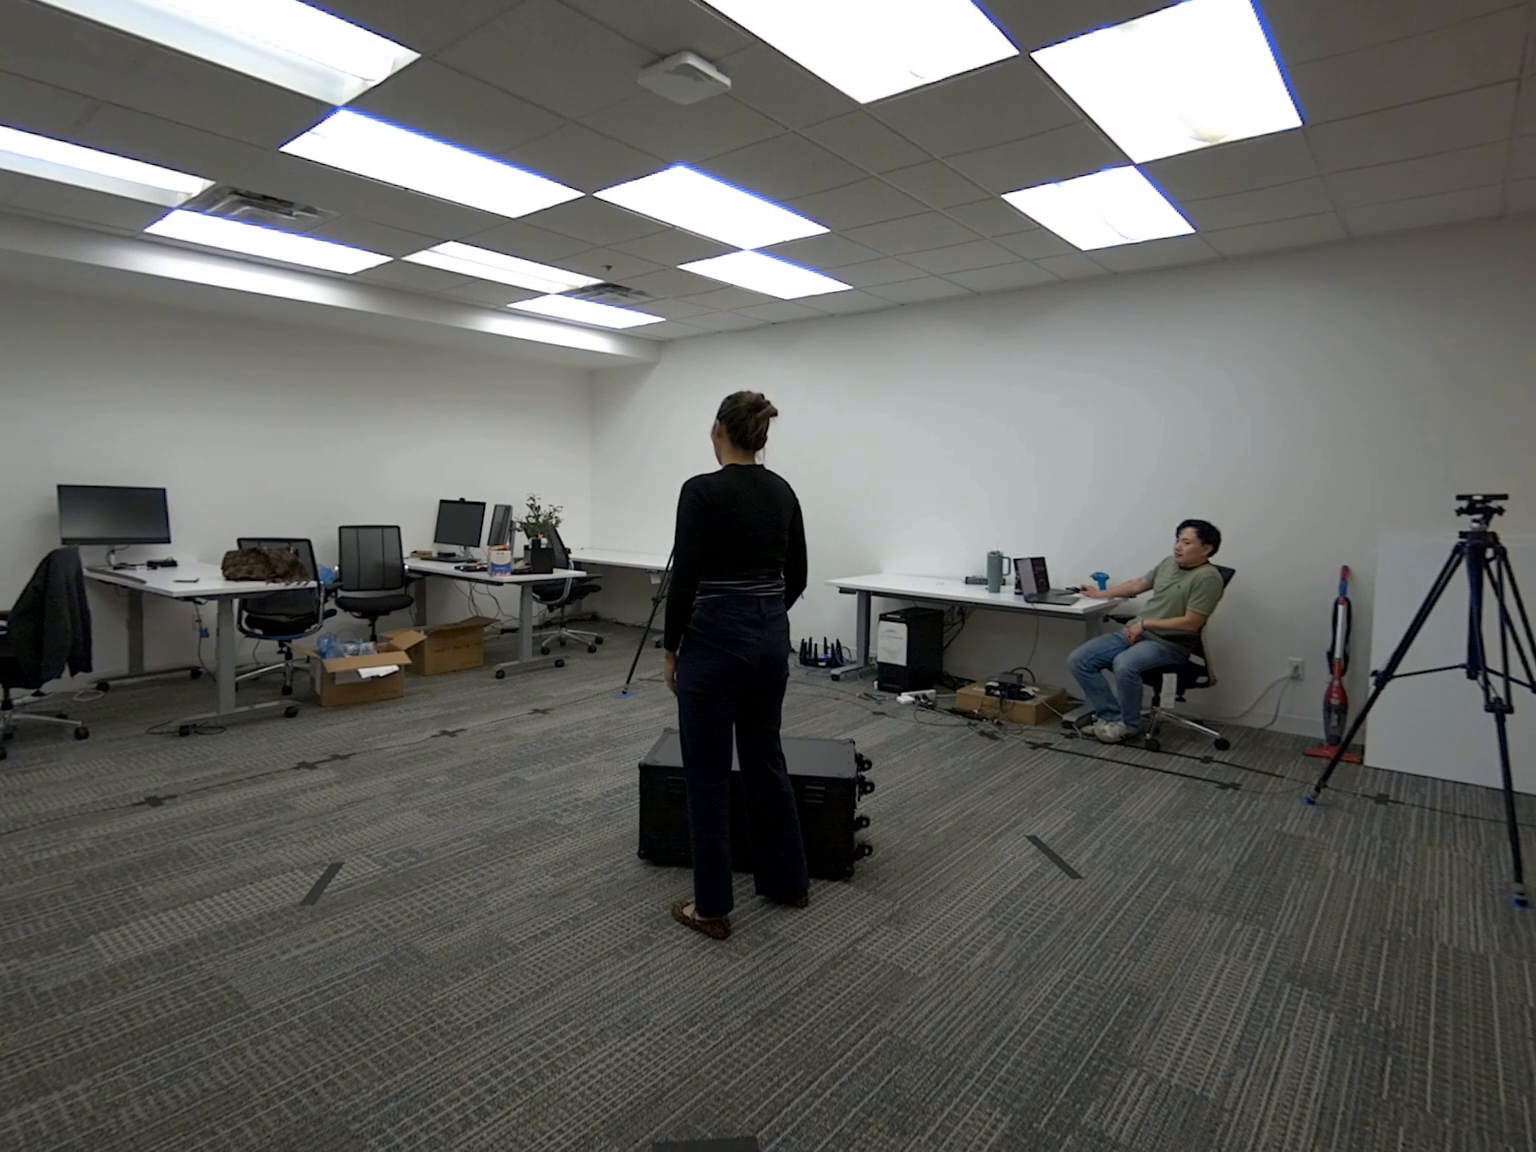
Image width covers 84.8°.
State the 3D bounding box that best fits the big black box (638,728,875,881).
[{"bbox_3d":[-0.041,0.855,3.278,0.869,0.395,0.519,1,5,7],"label":"big black box"}]
